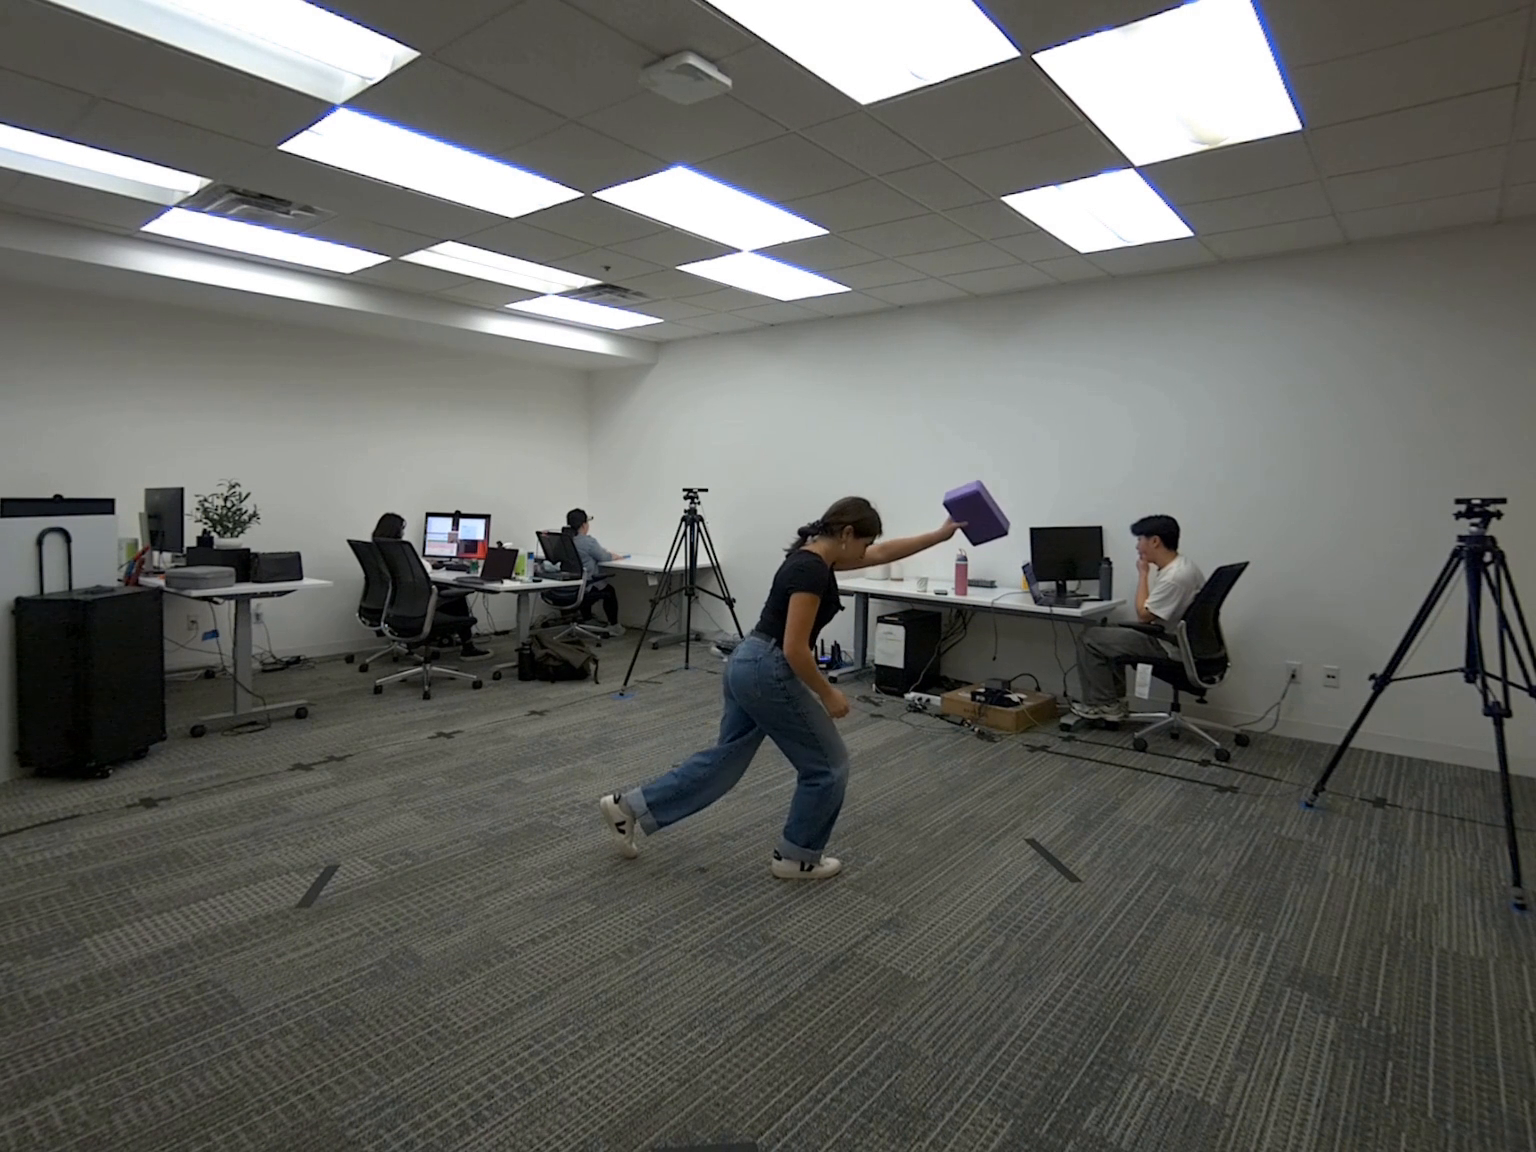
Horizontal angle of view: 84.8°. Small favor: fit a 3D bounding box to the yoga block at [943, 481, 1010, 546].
[{"bbox_3d":[0.762,-0.223,3.133,0.151,0.223,0.077,-22,26,38],"label":"yoga block"}]
